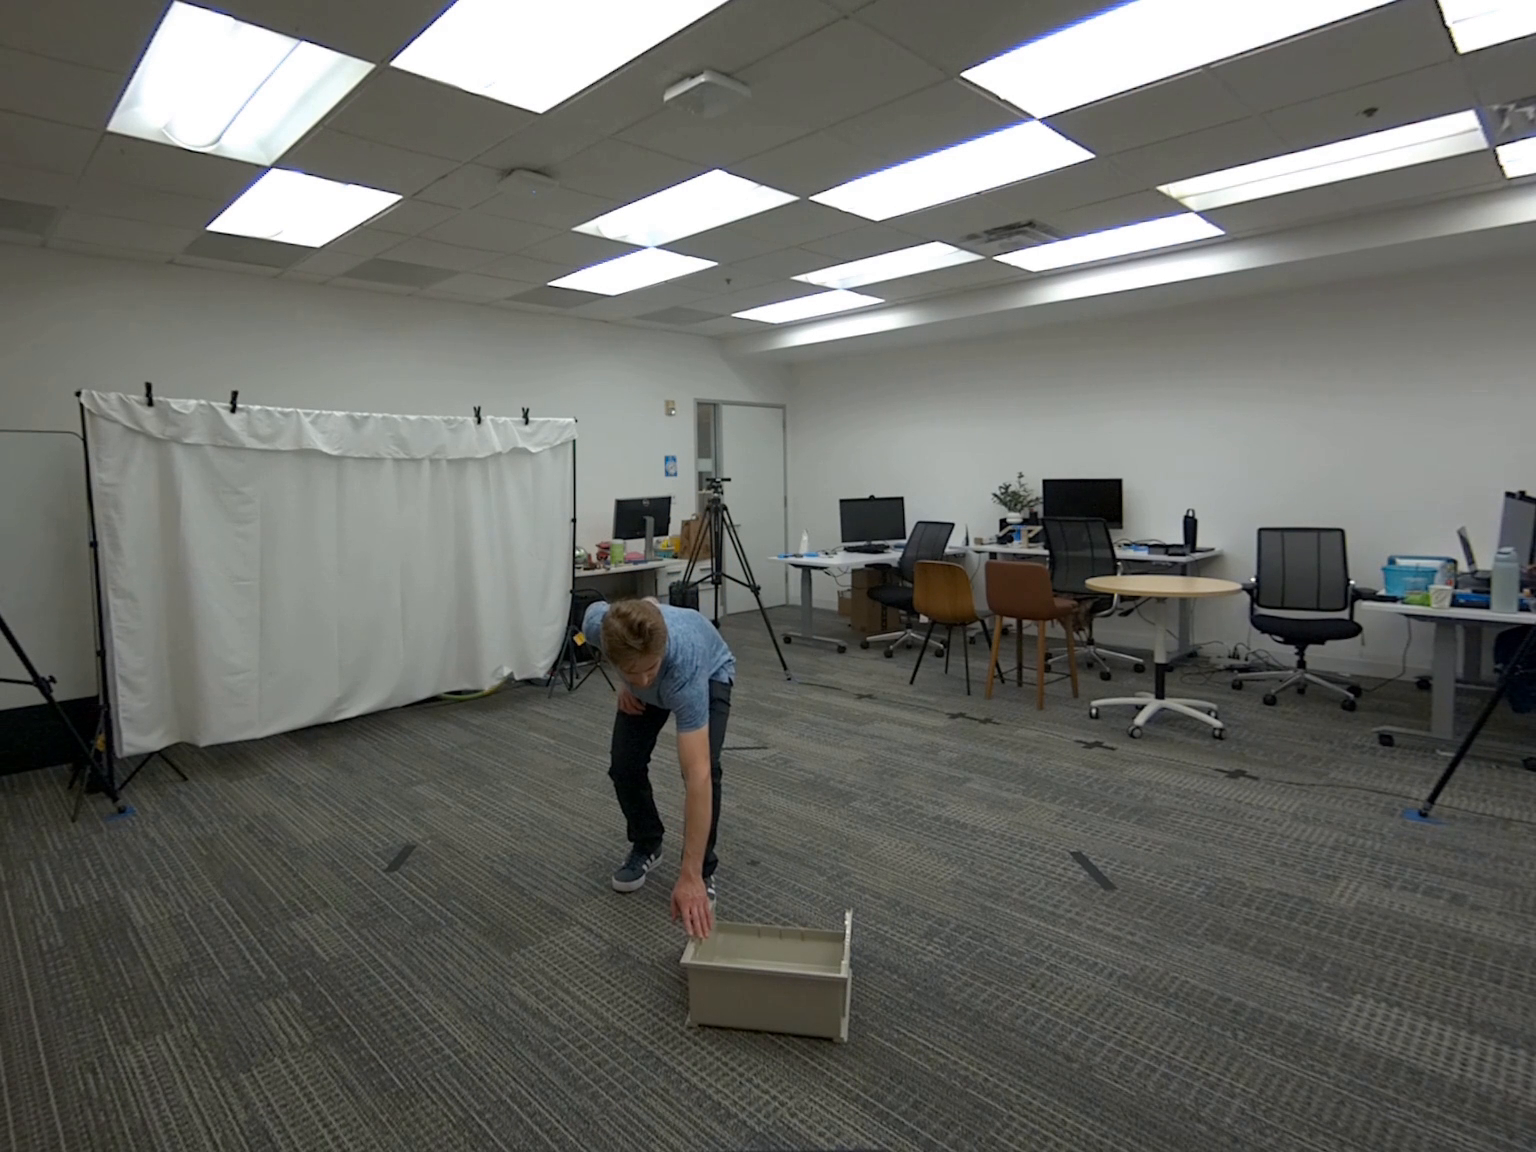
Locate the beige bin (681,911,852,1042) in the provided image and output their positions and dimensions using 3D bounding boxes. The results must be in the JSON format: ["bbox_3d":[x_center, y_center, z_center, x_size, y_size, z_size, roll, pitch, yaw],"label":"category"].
[{"bbox_3d":[0.016,1.046,2.314,0.426,0.188,0.375,0,7,9],"label":"beige bin"}]
